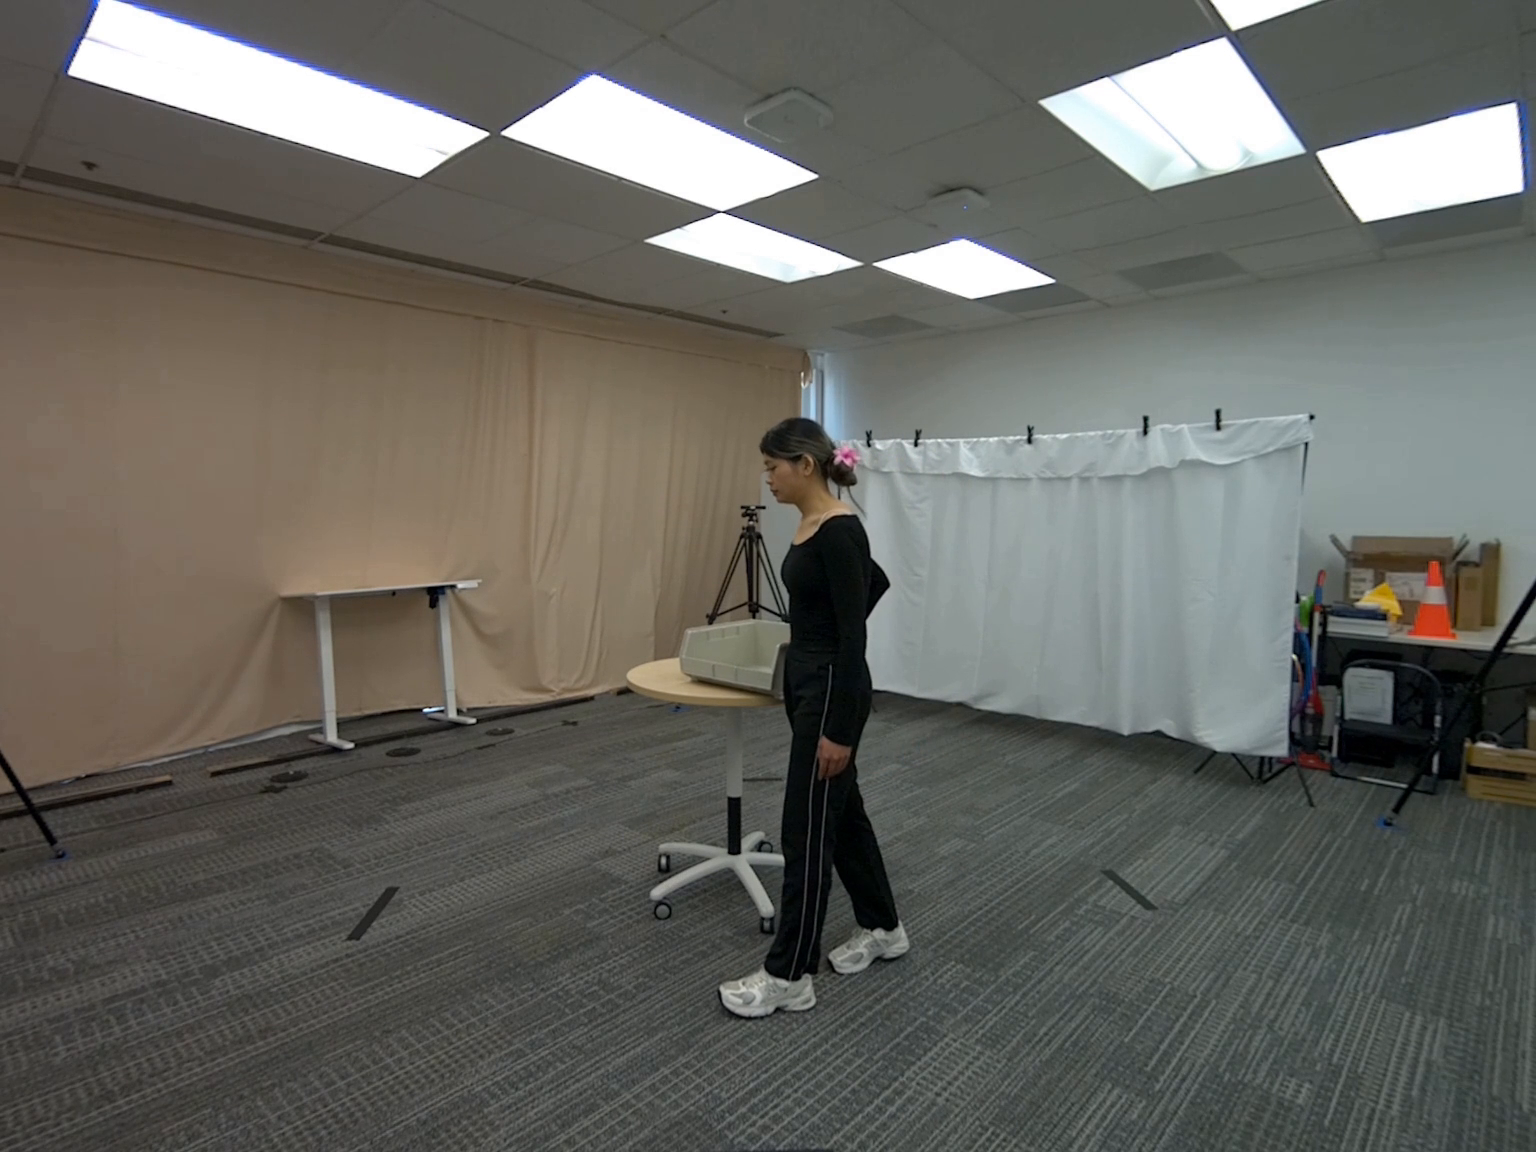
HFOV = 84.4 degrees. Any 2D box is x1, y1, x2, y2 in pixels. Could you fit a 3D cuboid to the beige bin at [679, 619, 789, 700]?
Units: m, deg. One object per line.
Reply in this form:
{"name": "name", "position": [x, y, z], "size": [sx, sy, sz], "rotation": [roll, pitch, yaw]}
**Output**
{"name": "beige bin", "position": [-0.015, 0.272, 2.840], "size": [0.436, 0.189, 0.365], "rotation": [3, 4, 42]}
